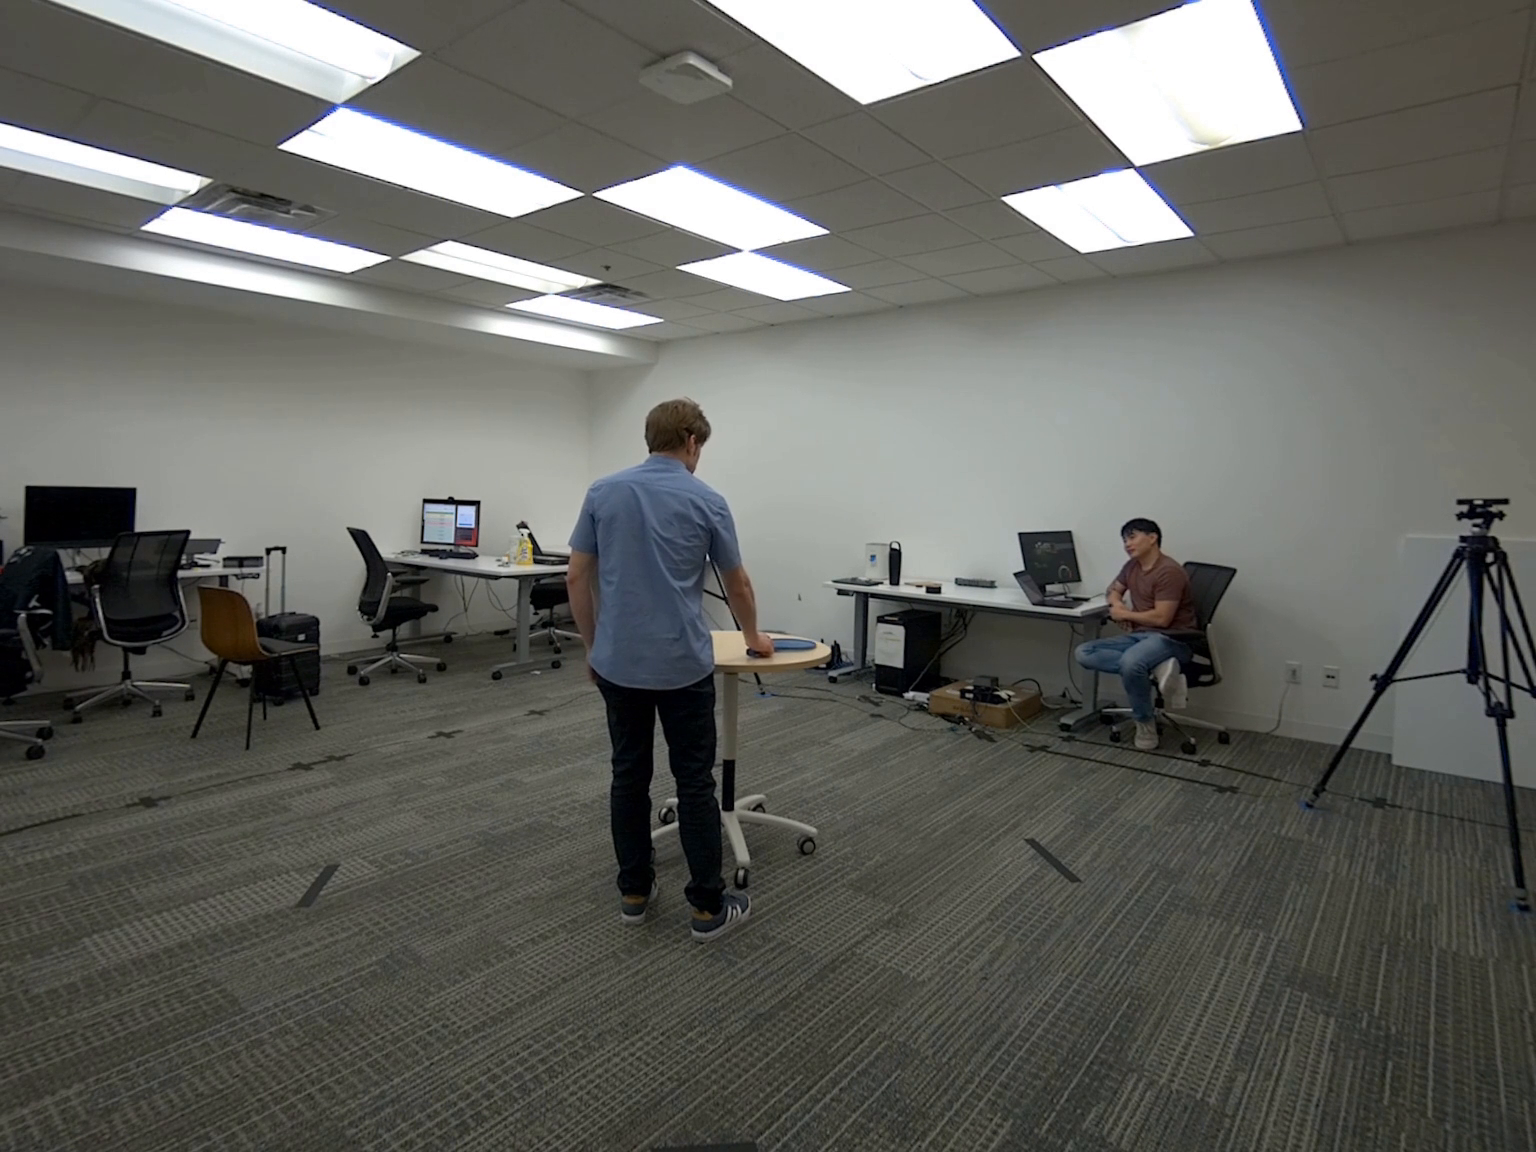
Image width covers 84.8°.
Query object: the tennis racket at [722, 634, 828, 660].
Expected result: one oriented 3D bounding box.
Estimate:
[{"bbox_3d":[0.032,0.269,3.238,0.220,0.032,0.421,2,4,32],"label":"tennis racket"}]
